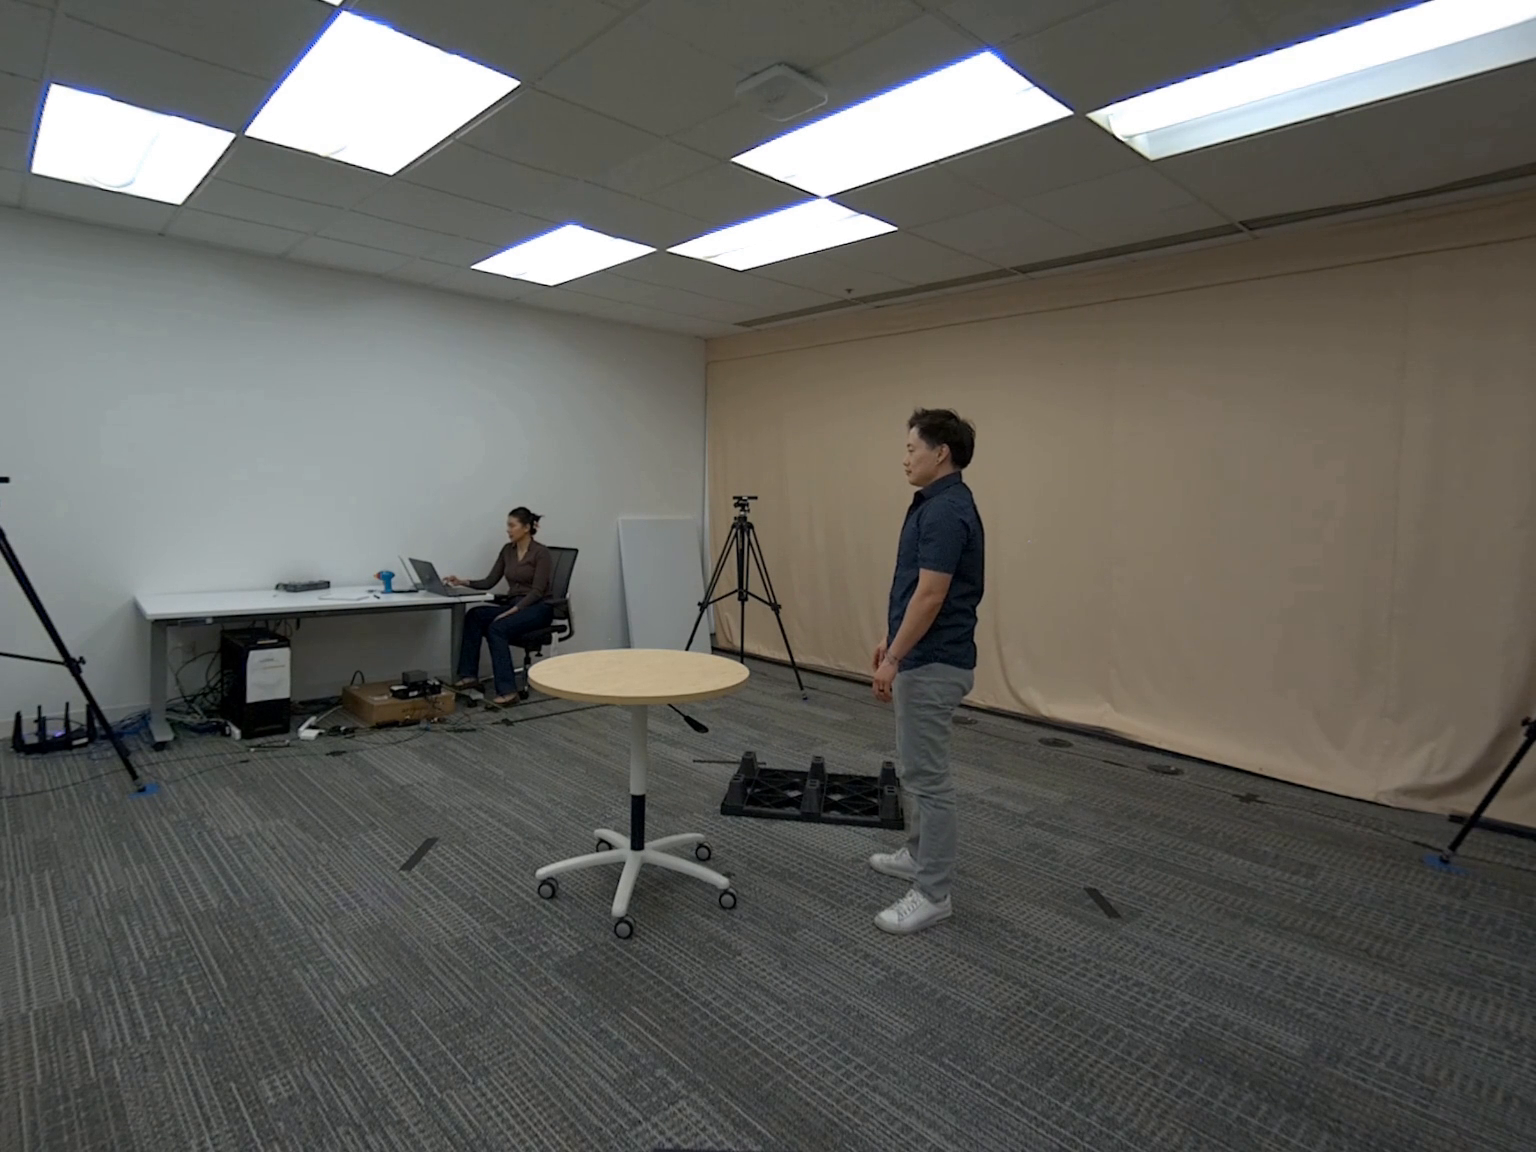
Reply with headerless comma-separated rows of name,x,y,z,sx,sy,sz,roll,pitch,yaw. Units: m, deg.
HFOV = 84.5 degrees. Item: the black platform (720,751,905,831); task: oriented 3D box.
black platform,0.213,0.972,3.929,0.811,0.143,0.603,2,5,8
